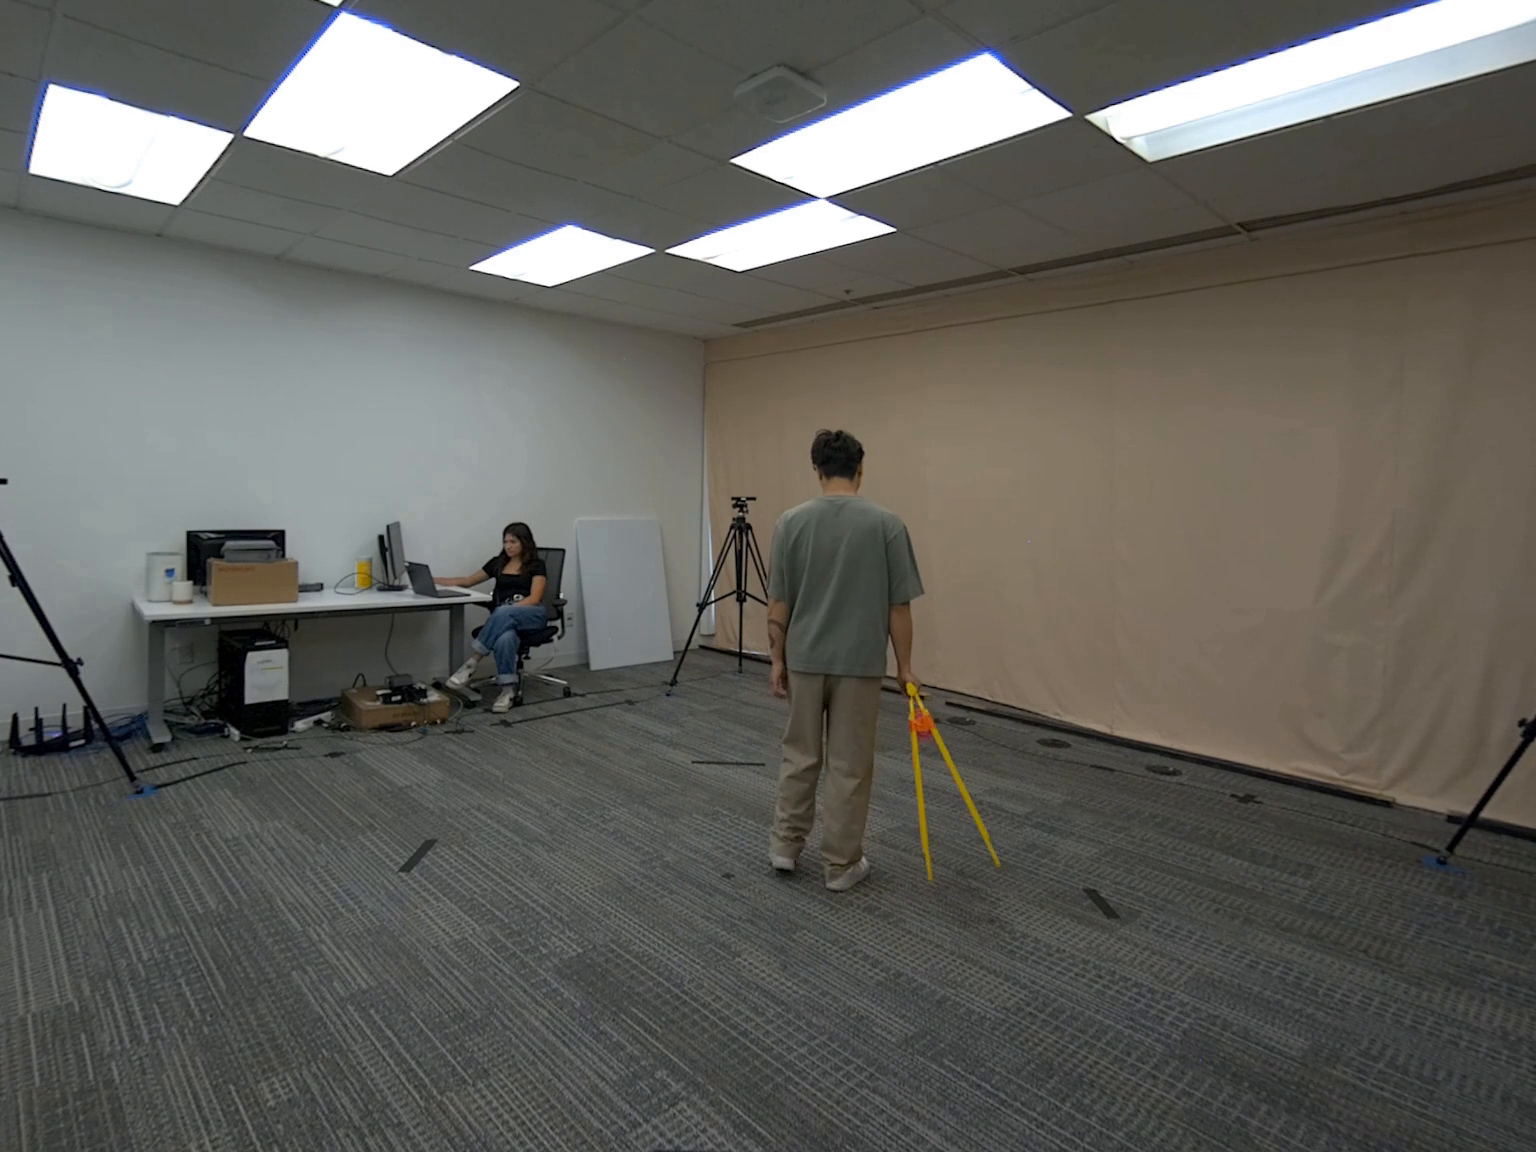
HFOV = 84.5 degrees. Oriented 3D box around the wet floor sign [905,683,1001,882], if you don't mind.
[{"bbox_3d":[0.574,0.697,2.997,0.291,0.653,0.278,-15,-11,8],"label":"wet floor sign"}]
